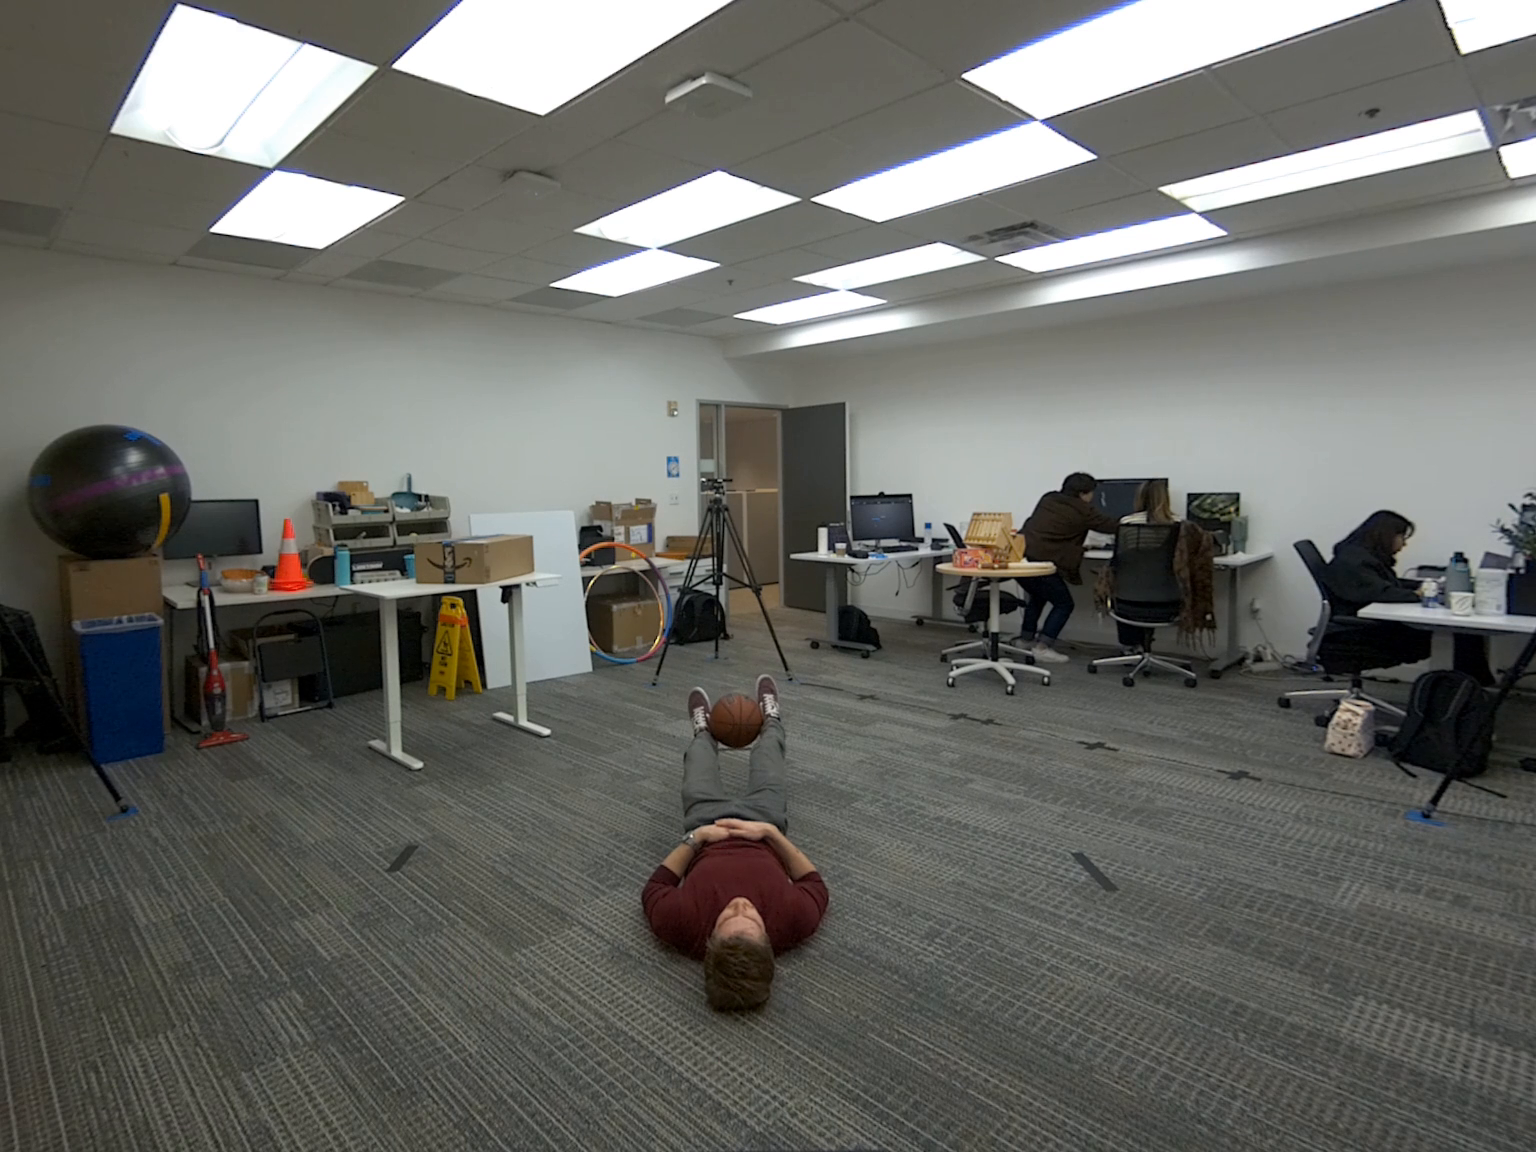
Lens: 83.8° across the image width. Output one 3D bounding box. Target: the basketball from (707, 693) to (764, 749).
[{"bbox_3d":[-0.134,0.639,3.818,0.236,0.236,0.236,0,1,-2],"label":"basketball"}]
